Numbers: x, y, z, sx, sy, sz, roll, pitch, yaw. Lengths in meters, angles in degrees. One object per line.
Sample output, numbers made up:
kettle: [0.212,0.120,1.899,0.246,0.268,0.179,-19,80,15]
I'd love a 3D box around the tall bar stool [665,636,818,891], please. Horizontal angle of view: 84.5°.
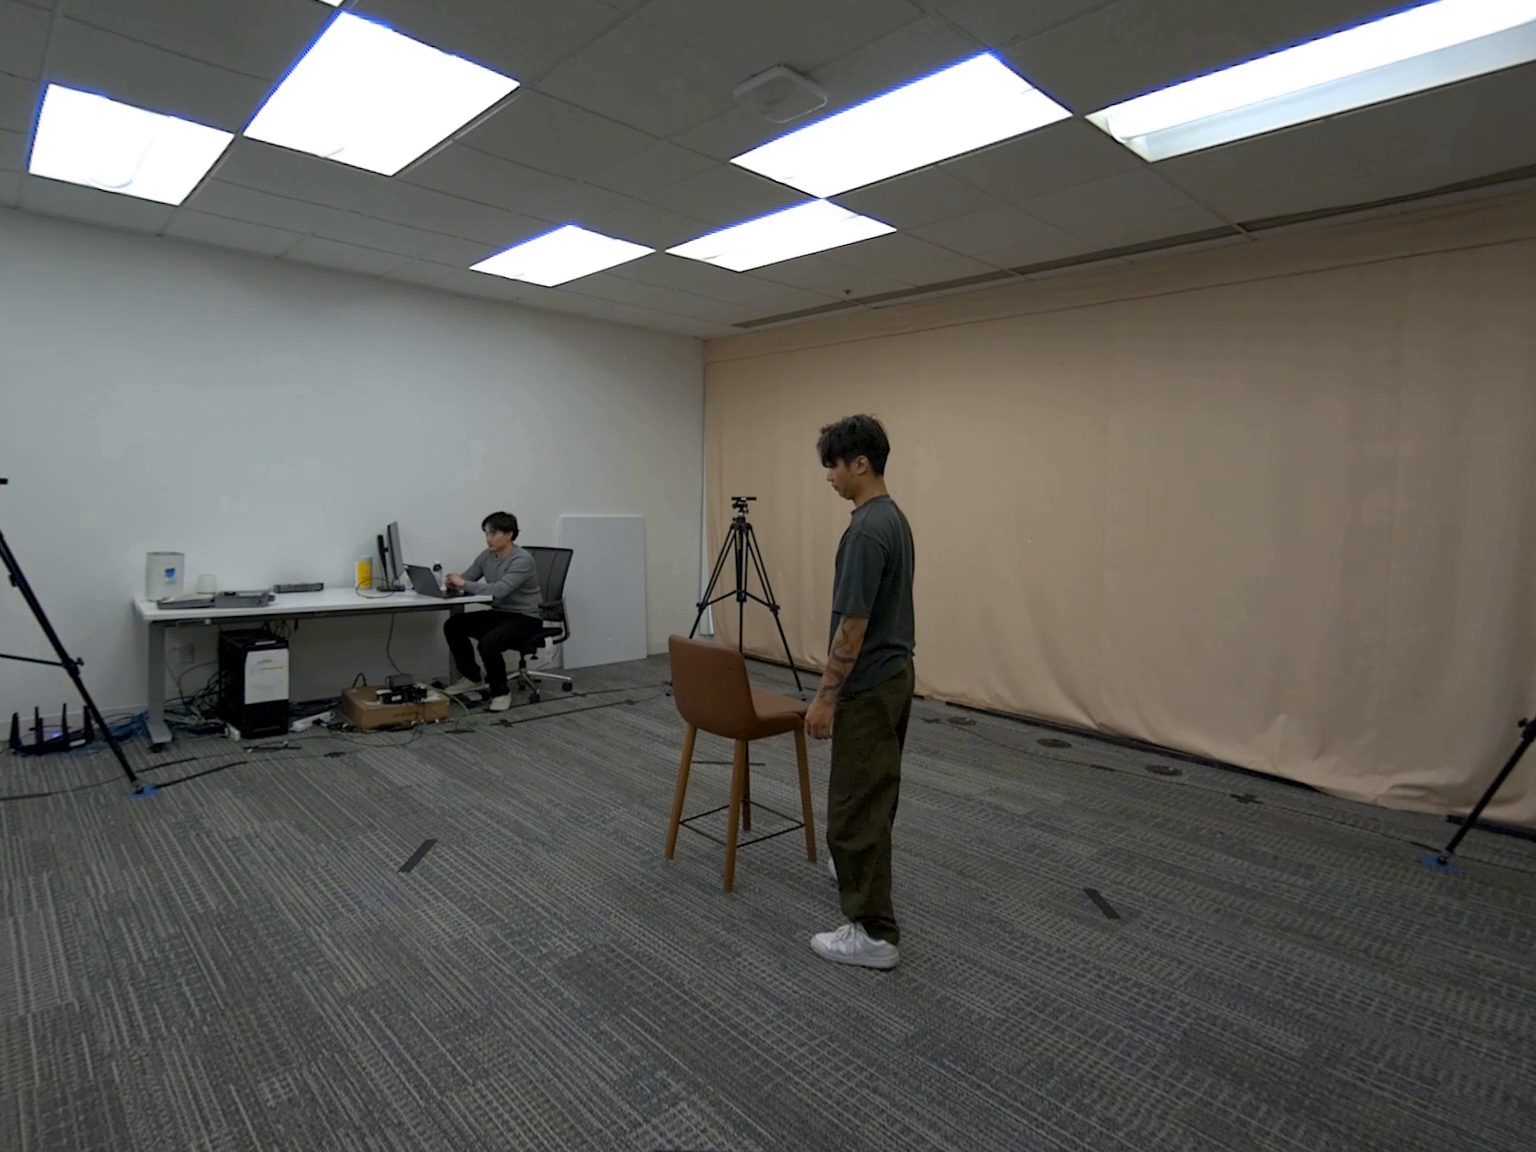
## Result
tall bar stool: [-0.110,0.660,3.229,0.457,0.887,0.468,-4,5,-42]
